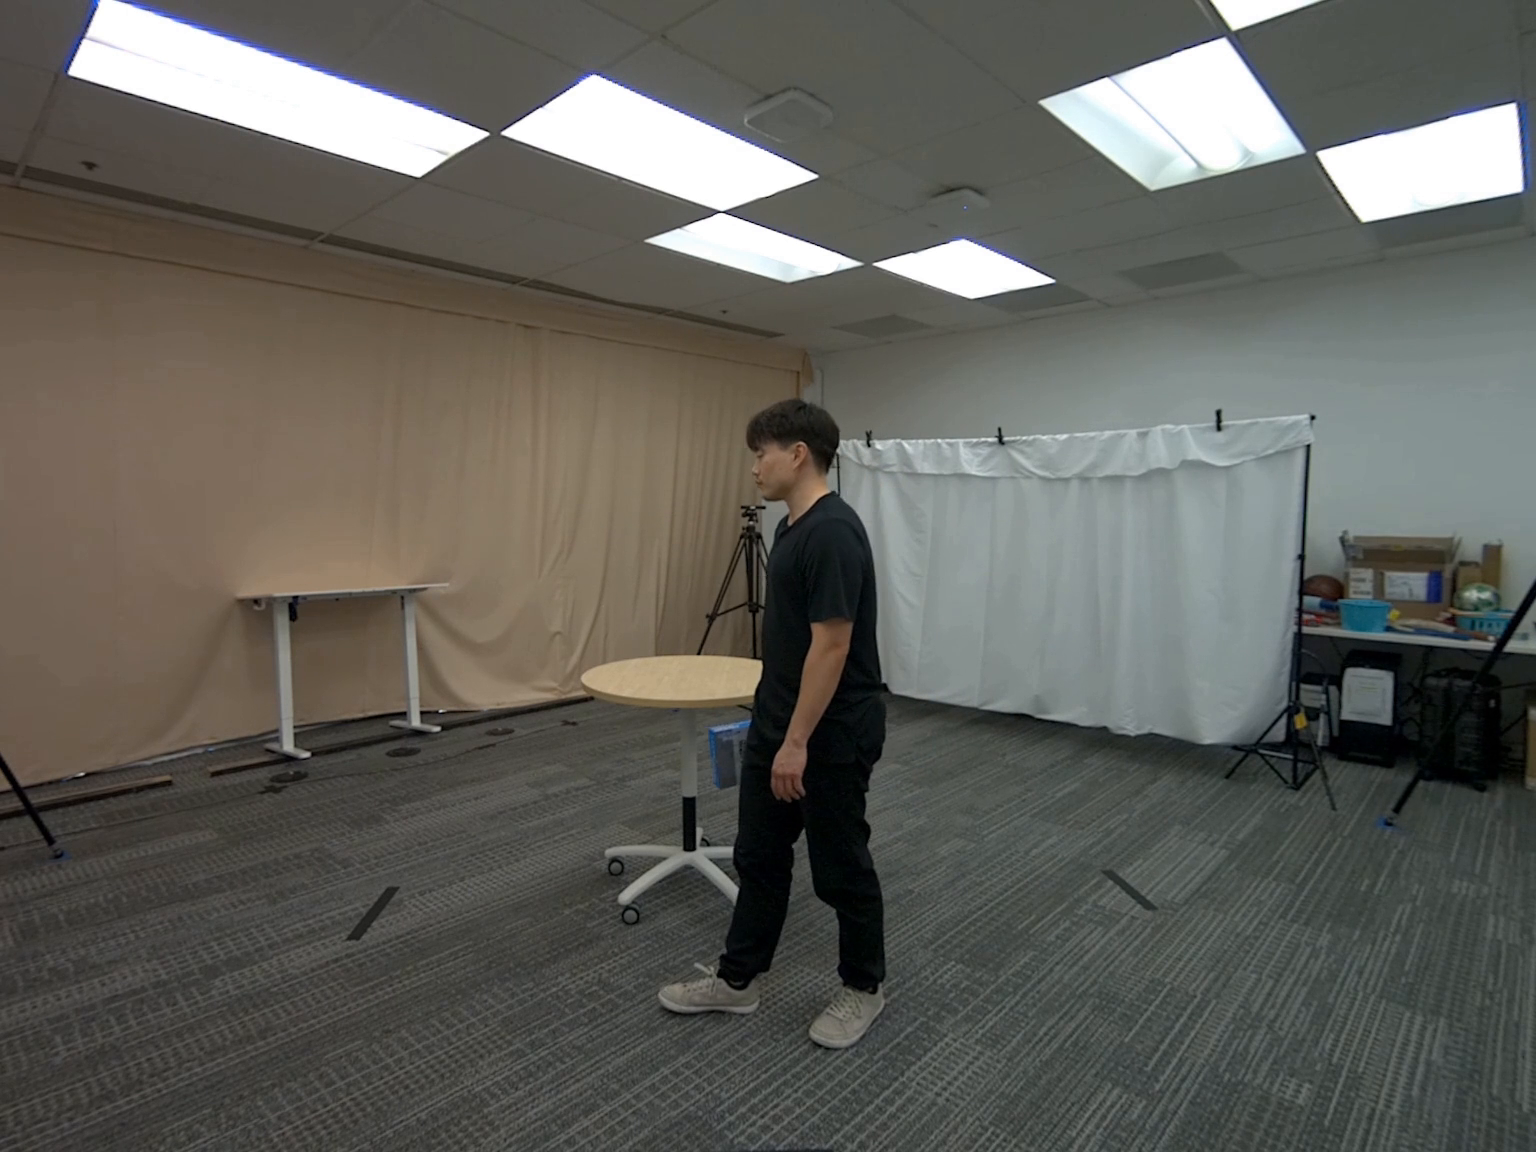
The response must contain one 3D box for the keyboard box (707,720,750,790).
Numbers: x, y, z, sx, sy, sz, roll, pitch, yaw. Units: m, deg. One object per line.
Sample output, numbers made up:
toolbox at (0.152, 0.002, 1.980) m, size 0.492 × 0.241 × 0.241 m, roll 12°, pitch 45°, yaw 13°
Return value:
keyboard box at (0.044, 0.507, 2.541) m, size 0.429 × 0.175 × 0.060 m, roll -7°, pitch 4°, yaw -18°
